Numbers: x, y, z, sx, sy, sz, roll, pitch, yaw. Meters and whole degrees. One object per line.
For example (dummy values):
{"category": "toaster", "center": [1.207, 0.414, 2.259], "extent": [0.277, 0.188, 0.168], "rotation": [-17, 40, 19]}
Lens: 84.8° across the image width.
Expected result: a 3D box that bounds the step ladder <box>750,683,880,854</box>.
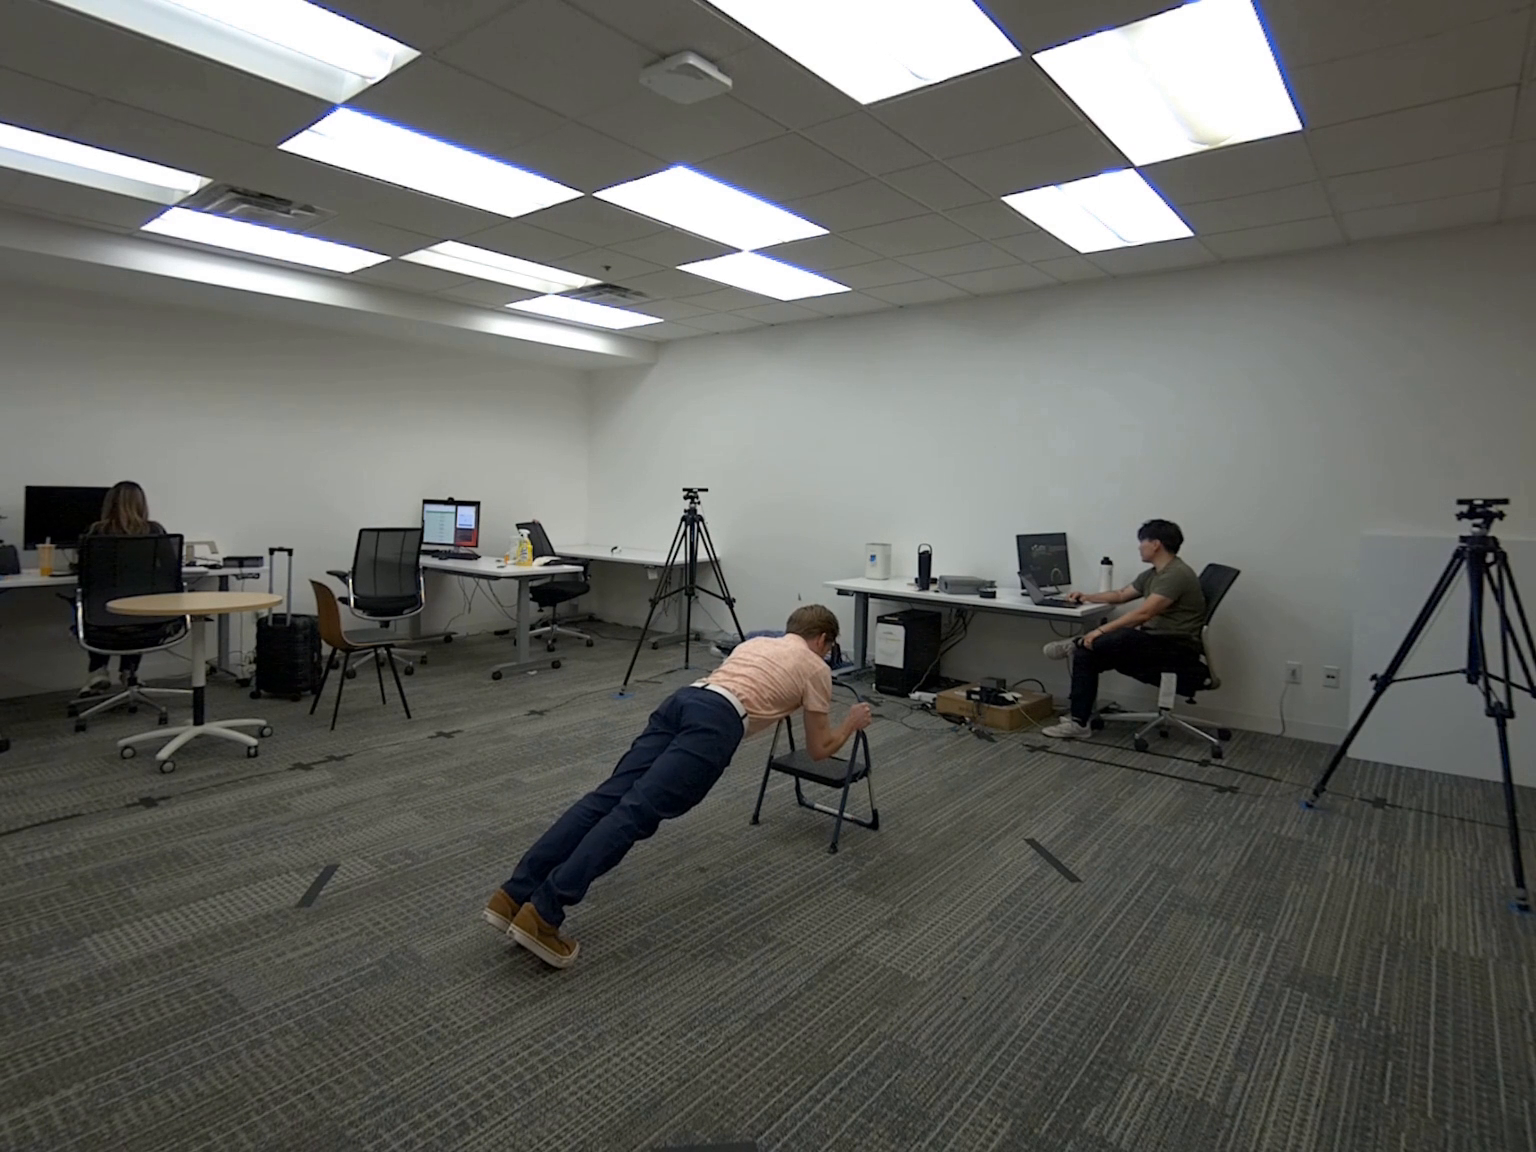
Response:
{"category": "step ladder", "center": [0.196, 0.737, 3.524], "extent": [0.445, 0.604, 0.338], "rotation": [4, 4, 40]}
